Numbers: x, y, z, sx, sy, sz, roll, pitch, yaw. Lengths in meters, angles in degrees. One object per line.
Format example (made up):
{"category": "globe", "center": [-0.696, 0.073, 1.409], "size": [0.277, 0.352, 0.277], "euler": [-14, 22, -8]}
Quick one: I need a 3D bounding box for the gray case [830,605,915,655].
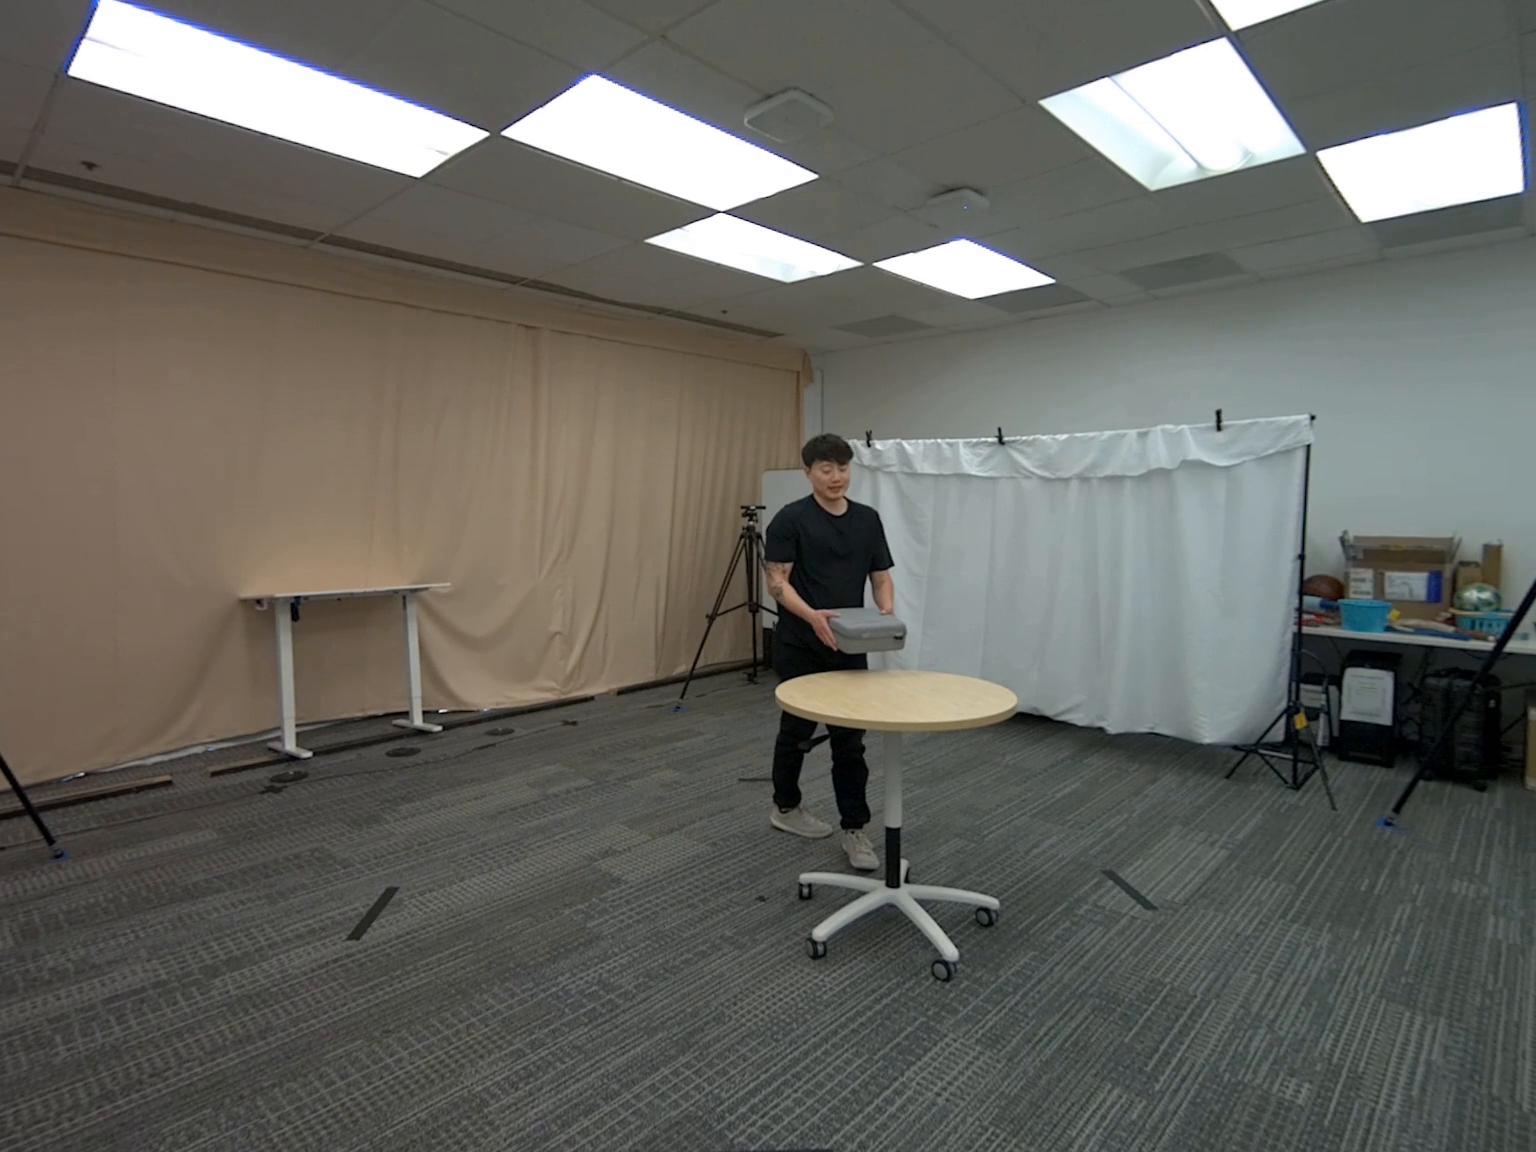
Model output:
{"category": "gray case", "center": [0.348, 0.194, 3.094], "size": [0.252, 0.103, 0.267], "euler": [-3, 12, -19]}
